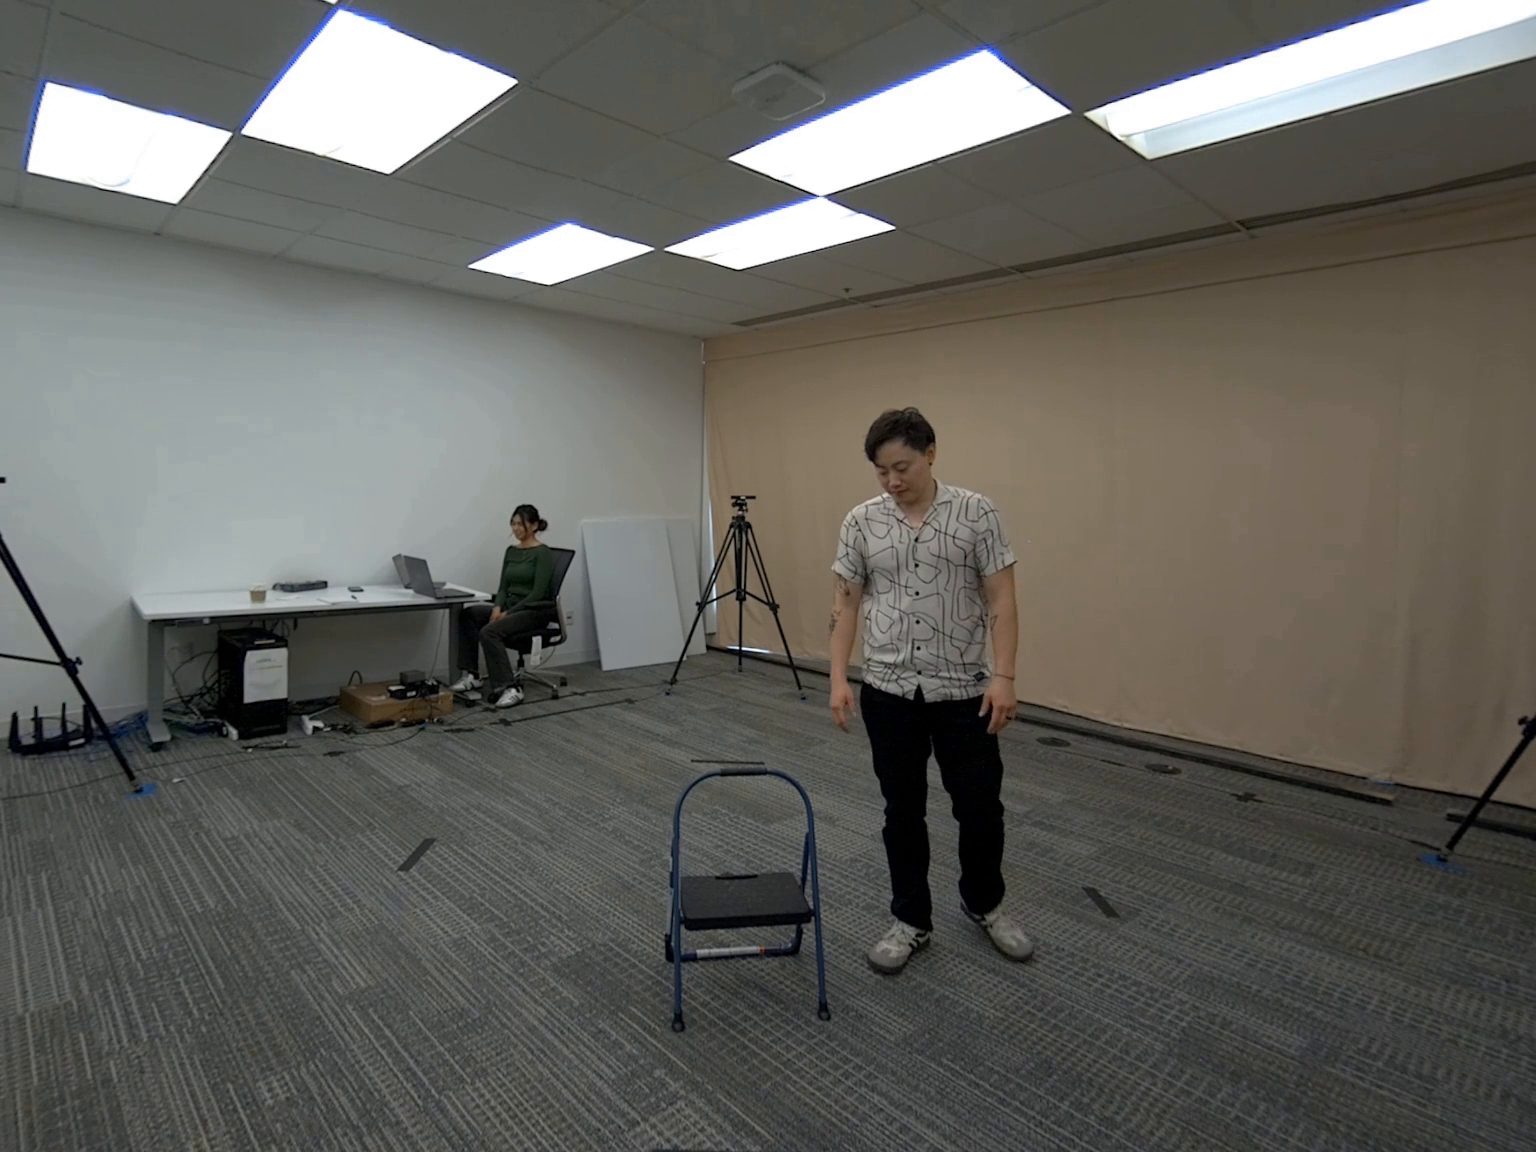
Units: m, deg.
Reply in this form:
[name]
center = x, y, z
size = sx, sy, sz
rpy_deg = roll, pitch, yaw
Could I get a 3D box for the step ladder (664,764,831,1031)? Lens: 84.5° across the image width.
[step ladder]
center = -0.066, 0.869, 2.373
size = 0.427, 0.604, 0.353
rpy_deg = 1, 4, -11
